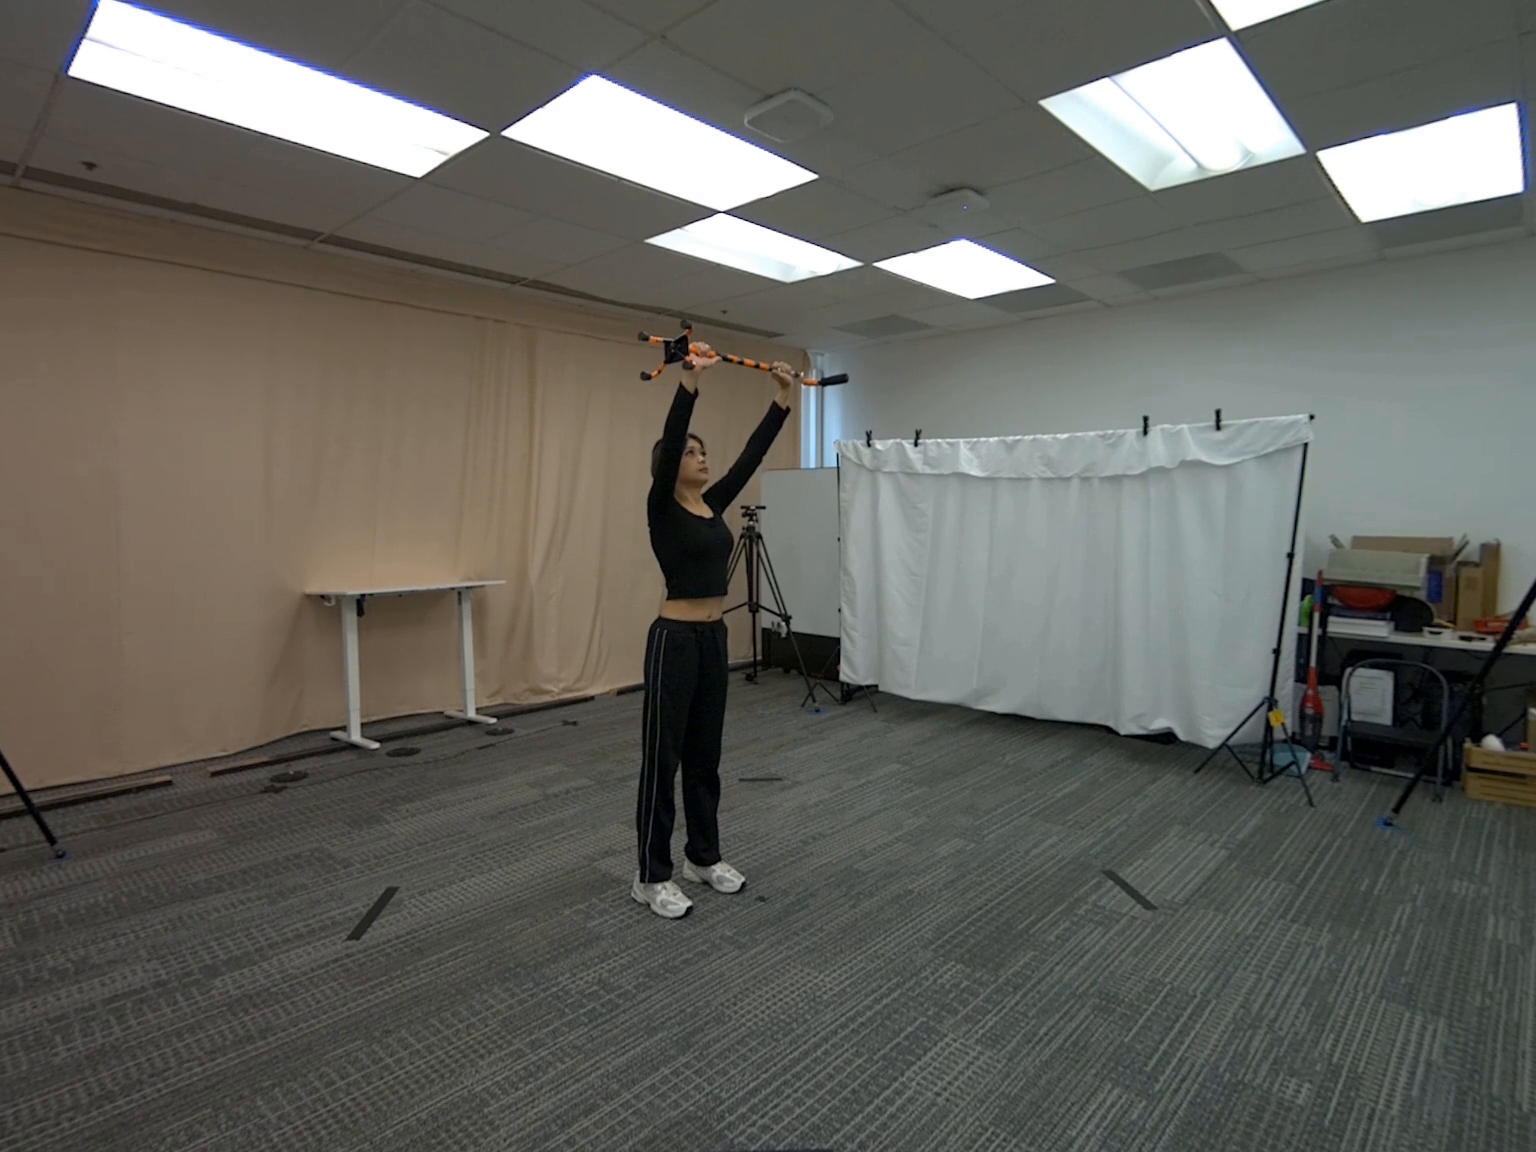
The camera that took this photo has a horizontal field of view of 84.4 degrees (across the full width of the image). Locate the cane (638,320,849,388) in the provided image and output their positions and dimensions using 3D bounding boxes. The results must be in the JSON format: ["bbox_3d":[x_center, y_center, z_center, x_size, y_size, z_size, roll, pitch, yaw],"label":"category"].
[{"bbox_3d":[-0.041,-0.706,2.874,0.213,0.151,0.881,-2,2,39],"label":"cane"}]
